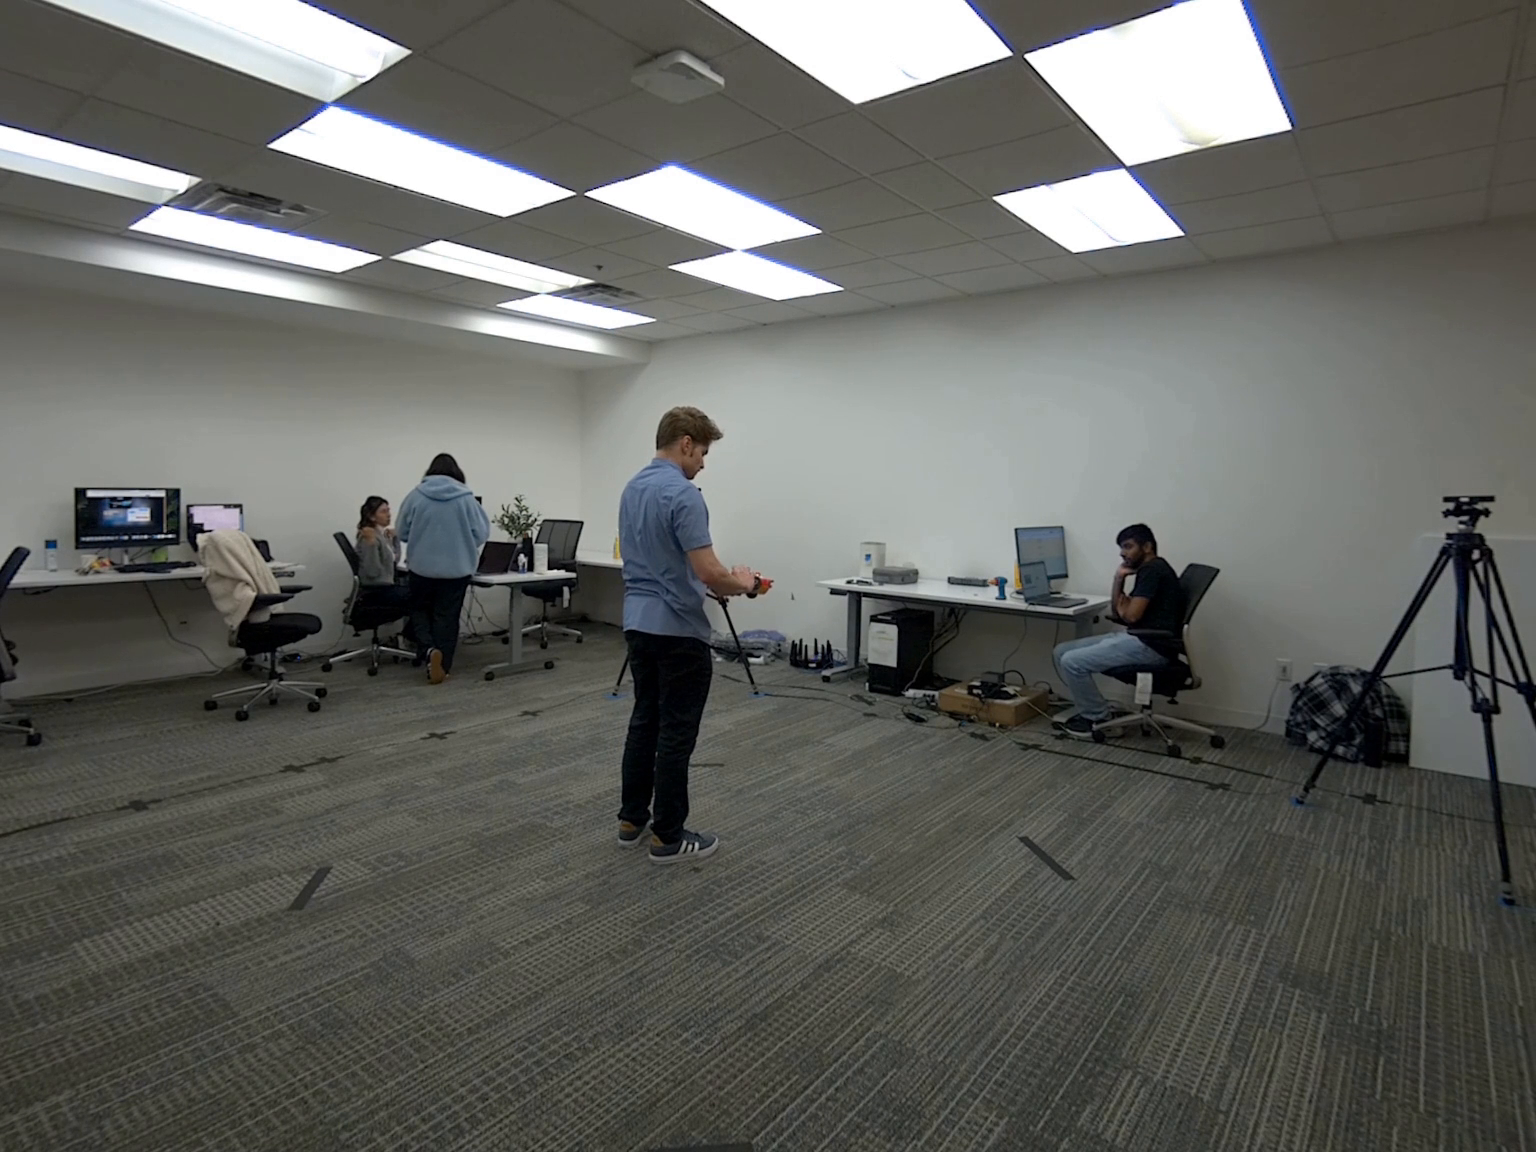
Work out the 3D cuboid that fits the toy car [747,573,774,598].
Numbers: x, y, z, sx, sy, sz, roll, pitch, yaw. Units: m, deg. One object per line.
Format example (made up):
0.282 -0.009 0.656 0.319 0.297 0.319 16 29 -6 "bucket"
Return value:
-0.112 0.034 3.343 0.253 0.085 0.128 -1 -24 -6 "toy car"
